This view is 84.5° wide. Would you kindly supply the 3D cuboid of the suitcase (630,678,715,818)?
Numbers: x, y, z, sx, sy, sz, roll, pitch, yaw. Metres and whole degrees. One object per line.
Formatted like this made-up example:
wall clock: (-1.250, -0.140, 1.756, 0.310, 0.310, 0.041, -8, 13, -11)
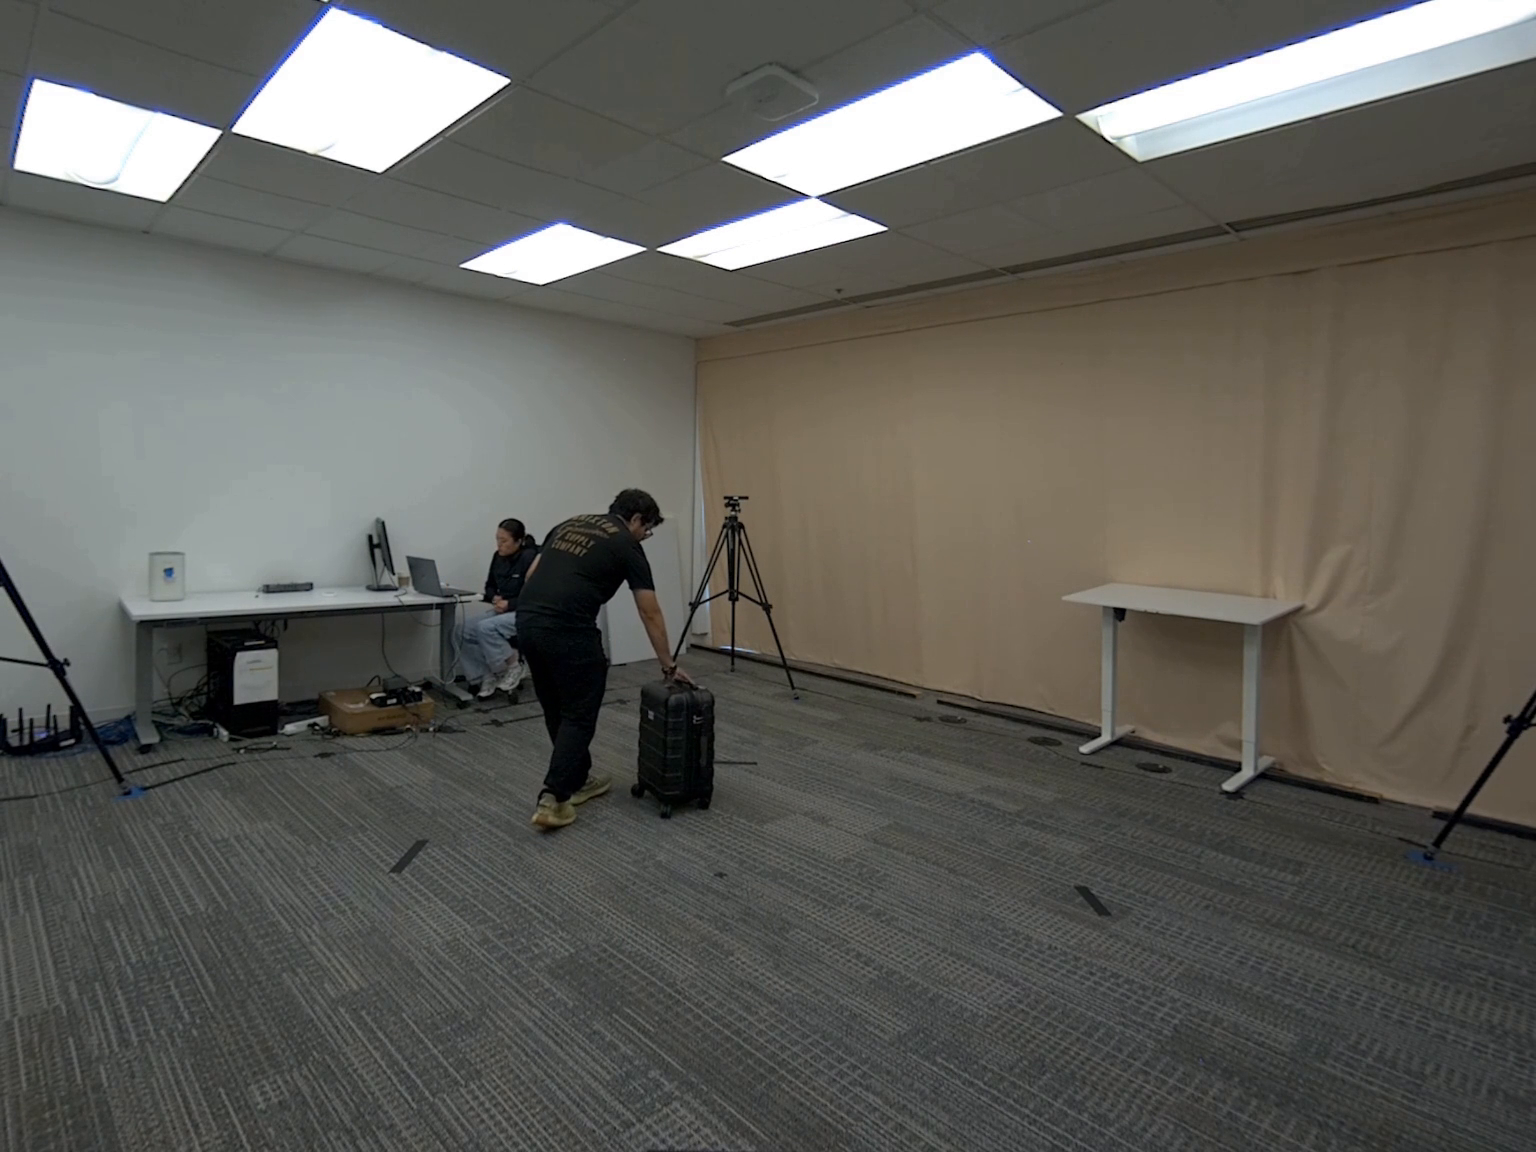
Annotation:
suitcase: (-0.430, 0.753, 3.841, 0.243, 0.548, 0.384, 1, 4, -32)
